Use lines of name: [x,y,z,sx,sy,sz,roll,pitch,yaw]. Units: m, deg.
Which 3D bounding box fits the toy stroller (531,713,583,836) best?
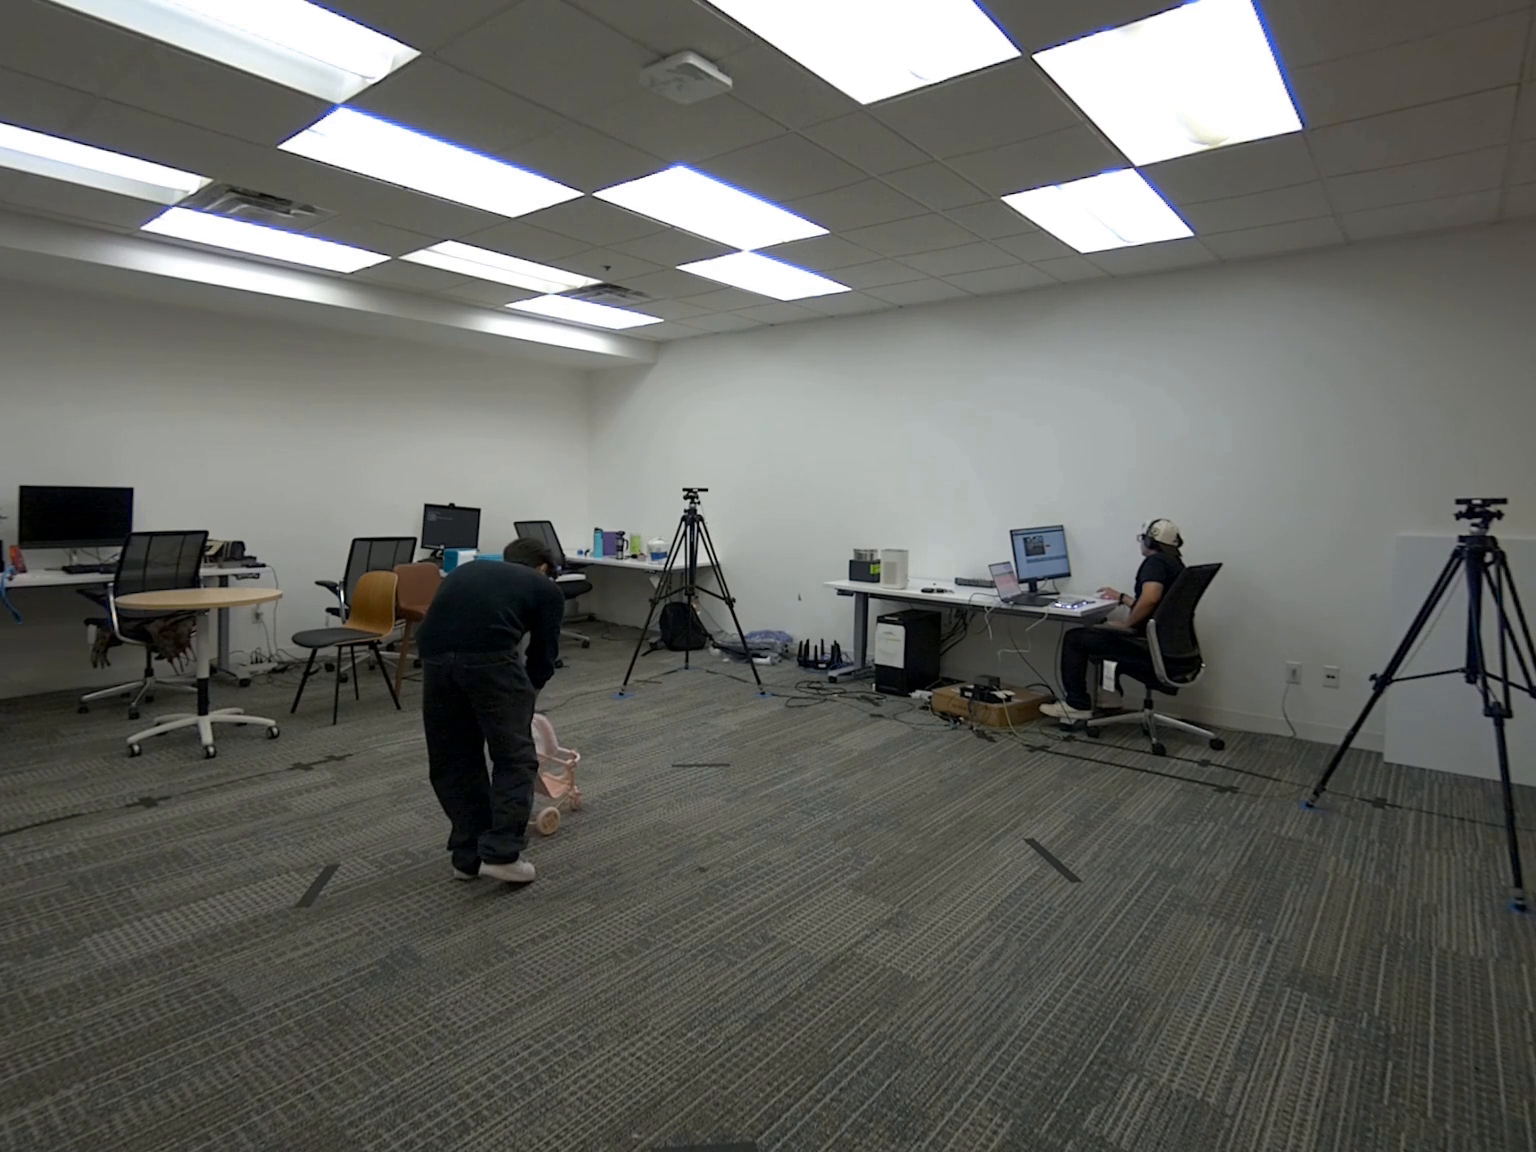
toy stroller: [-0.948,0.795,3.509,0.291,0.525,0.336,5,23,42]
